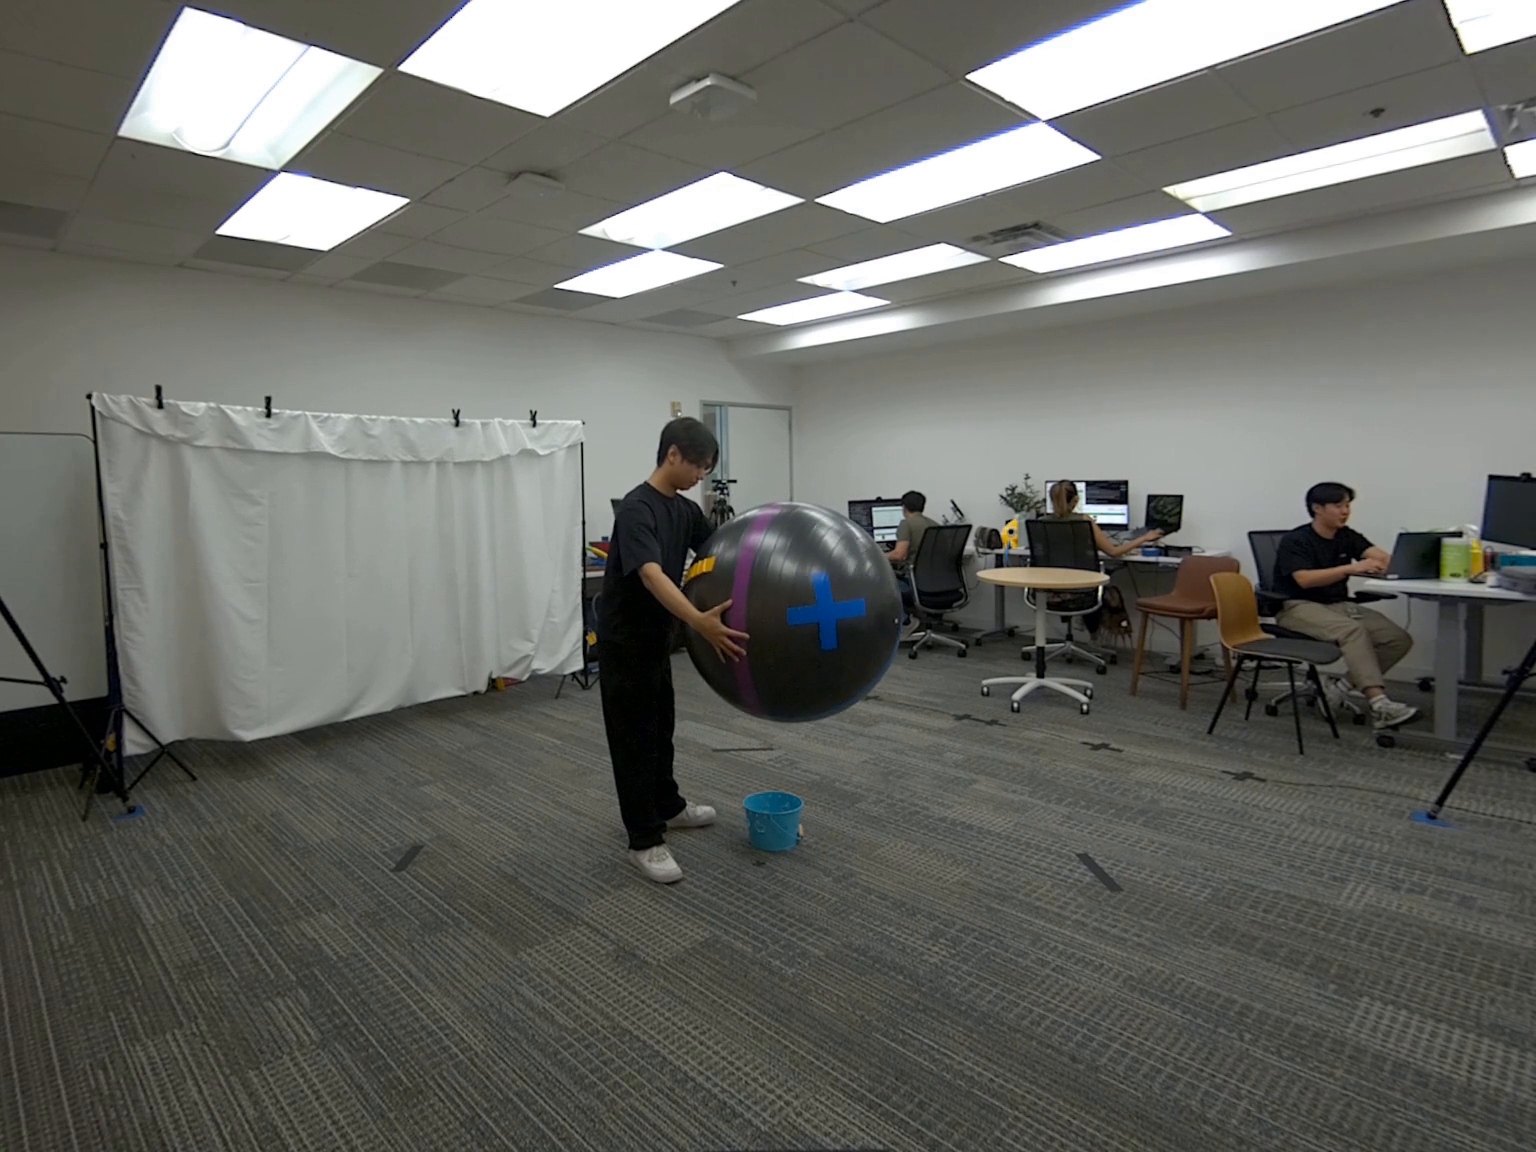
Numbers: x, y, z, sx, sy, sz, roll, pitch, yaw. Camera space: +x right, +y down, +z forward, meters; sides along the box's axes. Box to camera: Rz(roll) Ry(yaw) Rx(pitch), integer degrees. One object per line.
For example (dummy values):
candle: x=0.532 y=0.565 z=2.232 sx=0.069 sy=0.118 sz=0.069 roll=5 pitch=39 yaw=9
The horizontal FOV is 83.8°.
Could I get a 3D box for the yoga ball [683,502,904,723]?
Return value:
yoga ball: x=0.073 y=0.129 z=2.944 sx=0.757 sy=0.755 sz=0.762 roll=-1 pitch=5 yaw=-2
